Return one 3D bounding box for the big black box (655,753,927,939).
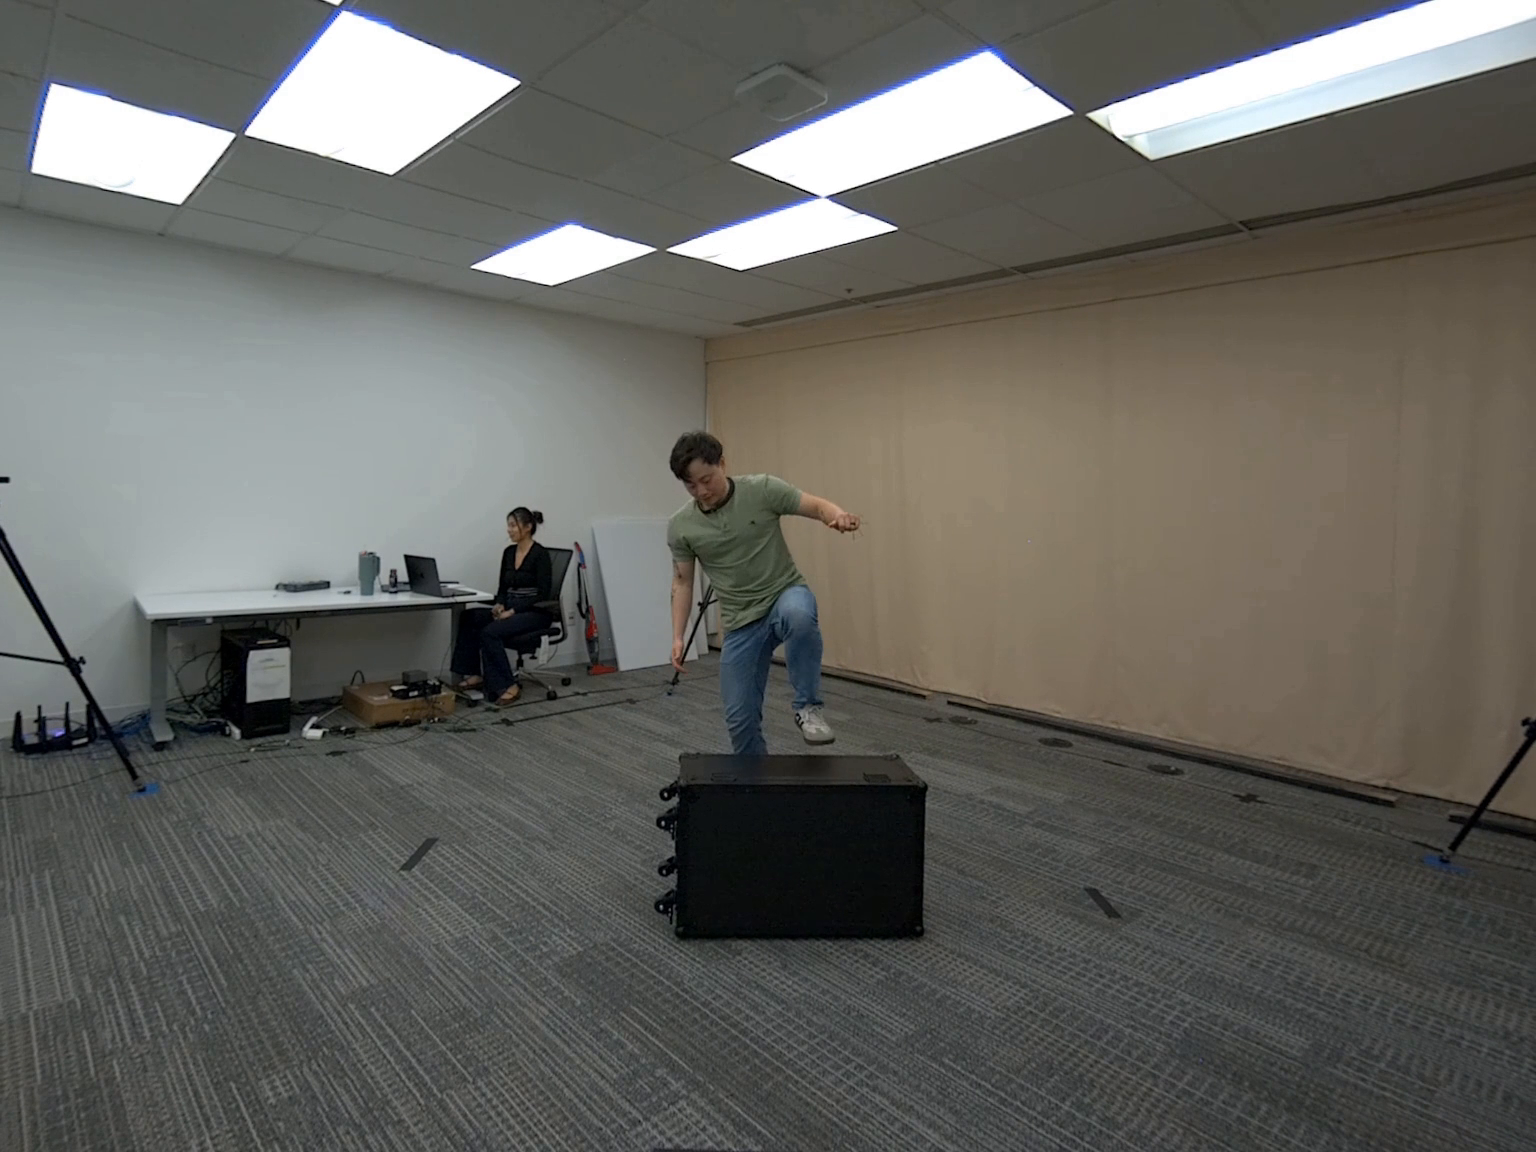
[{"bbox_3d":[0.057,0.879,2.825,0.858,0.521,0.398,1,1,-4],"label":"big black box"}]
